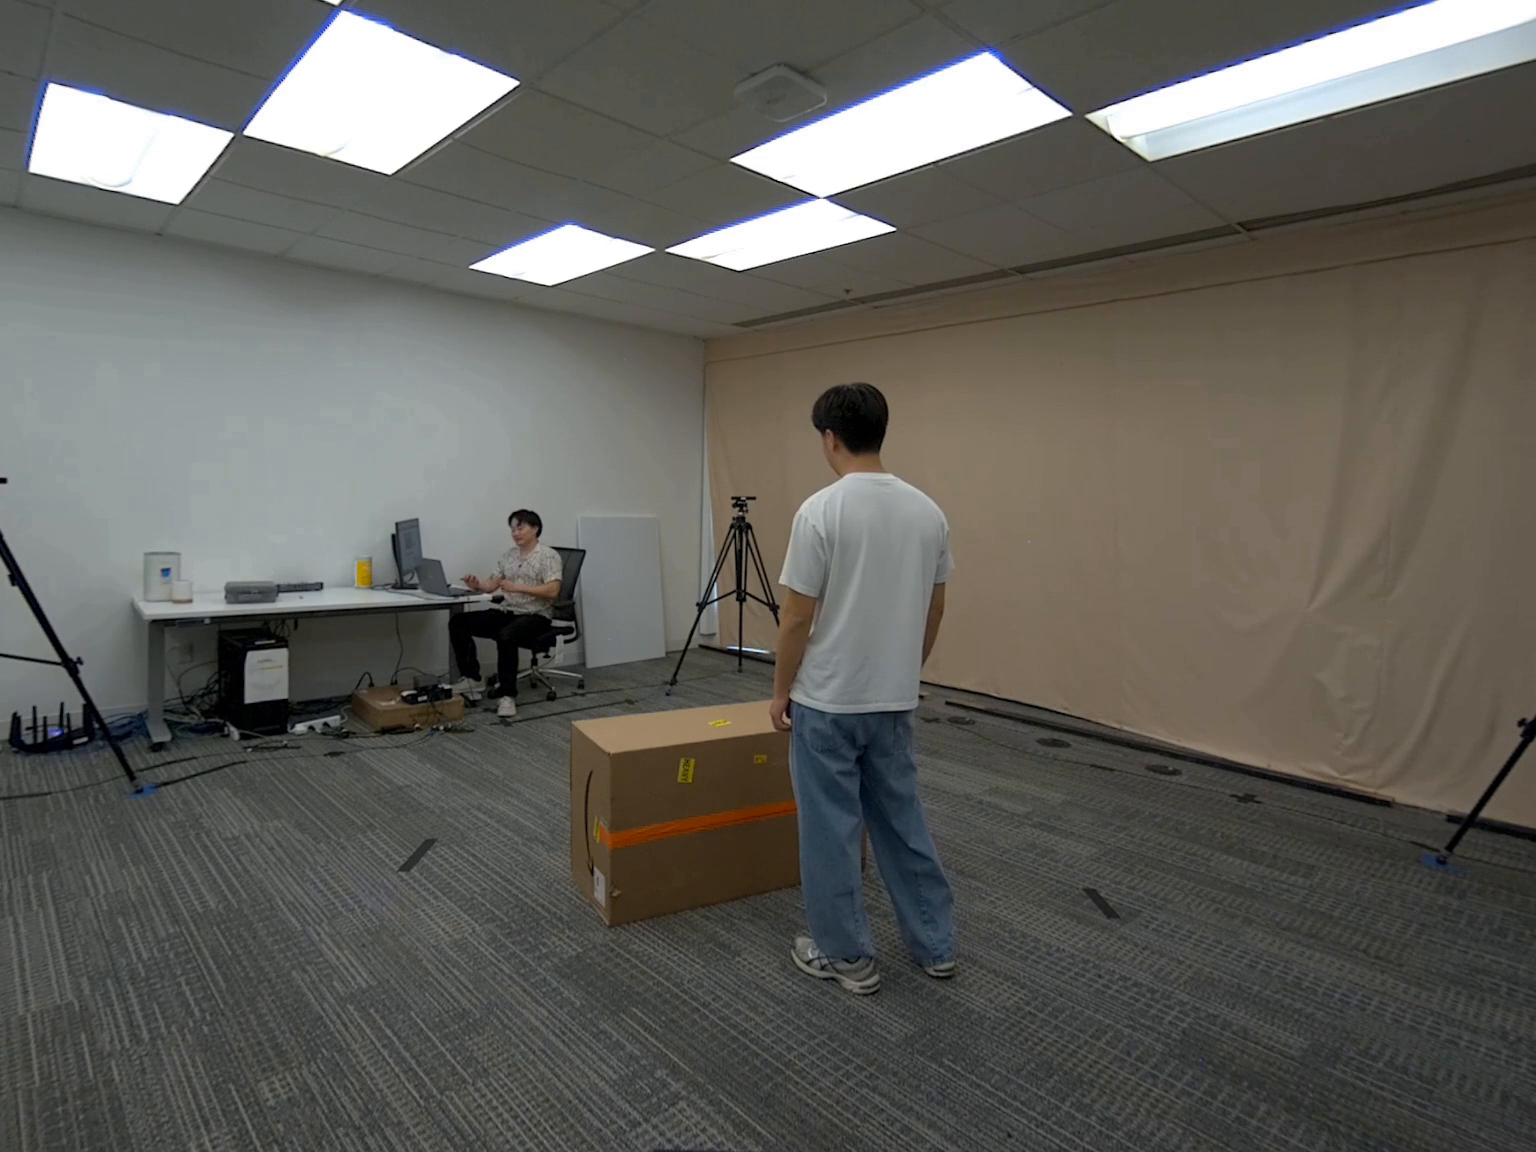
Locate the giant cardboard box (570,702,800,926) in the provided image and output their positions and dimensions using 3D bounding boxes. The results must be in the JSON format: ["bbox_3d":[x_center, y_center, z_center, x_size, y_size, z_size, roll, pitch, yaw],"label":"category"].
[{"bbox_3d":[-0.174,0.816,3.106,1.006,0.576,0.435,-1,4,-28],"label":"giant cardboard box"}]
